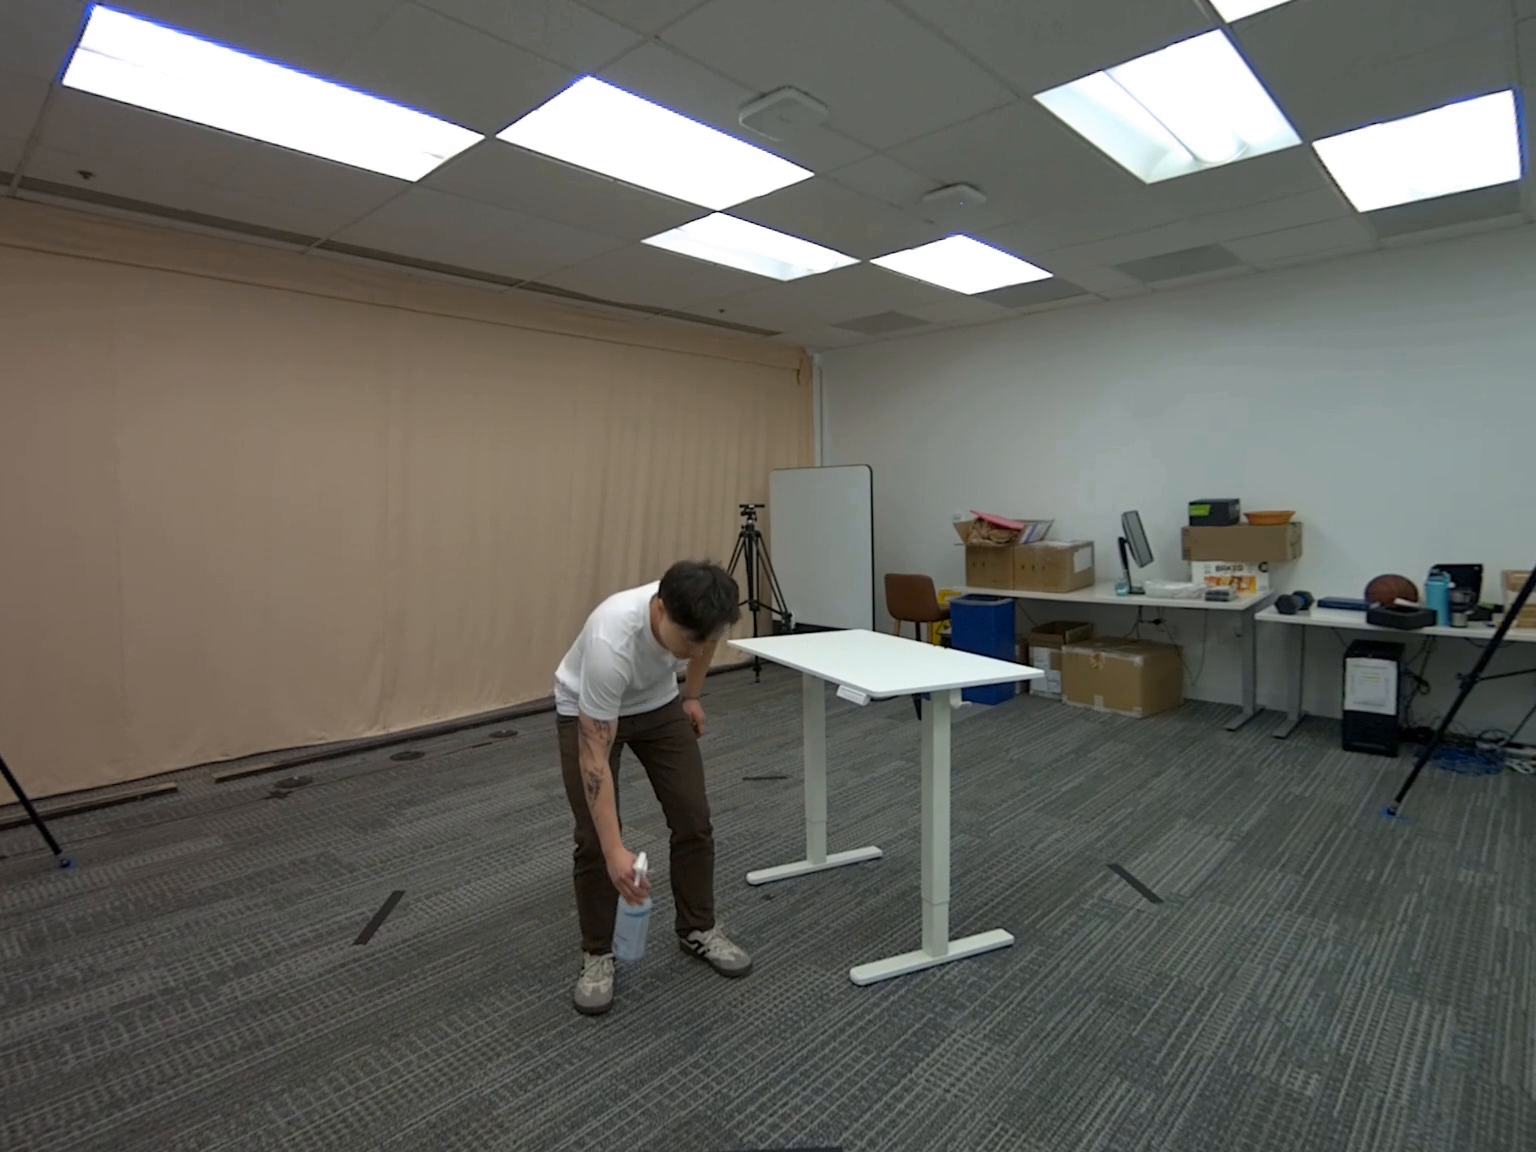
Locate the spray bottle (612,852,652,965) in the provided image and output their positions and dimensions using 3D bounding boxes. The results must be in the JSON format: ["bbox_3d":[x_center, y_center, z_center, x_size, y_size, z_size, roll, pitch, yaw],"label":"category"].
[{"bbox_3d":[-0.348,0.842,2.170,0.090,0.295,0.088,18,16,27],"label":"spray bottle"}]
